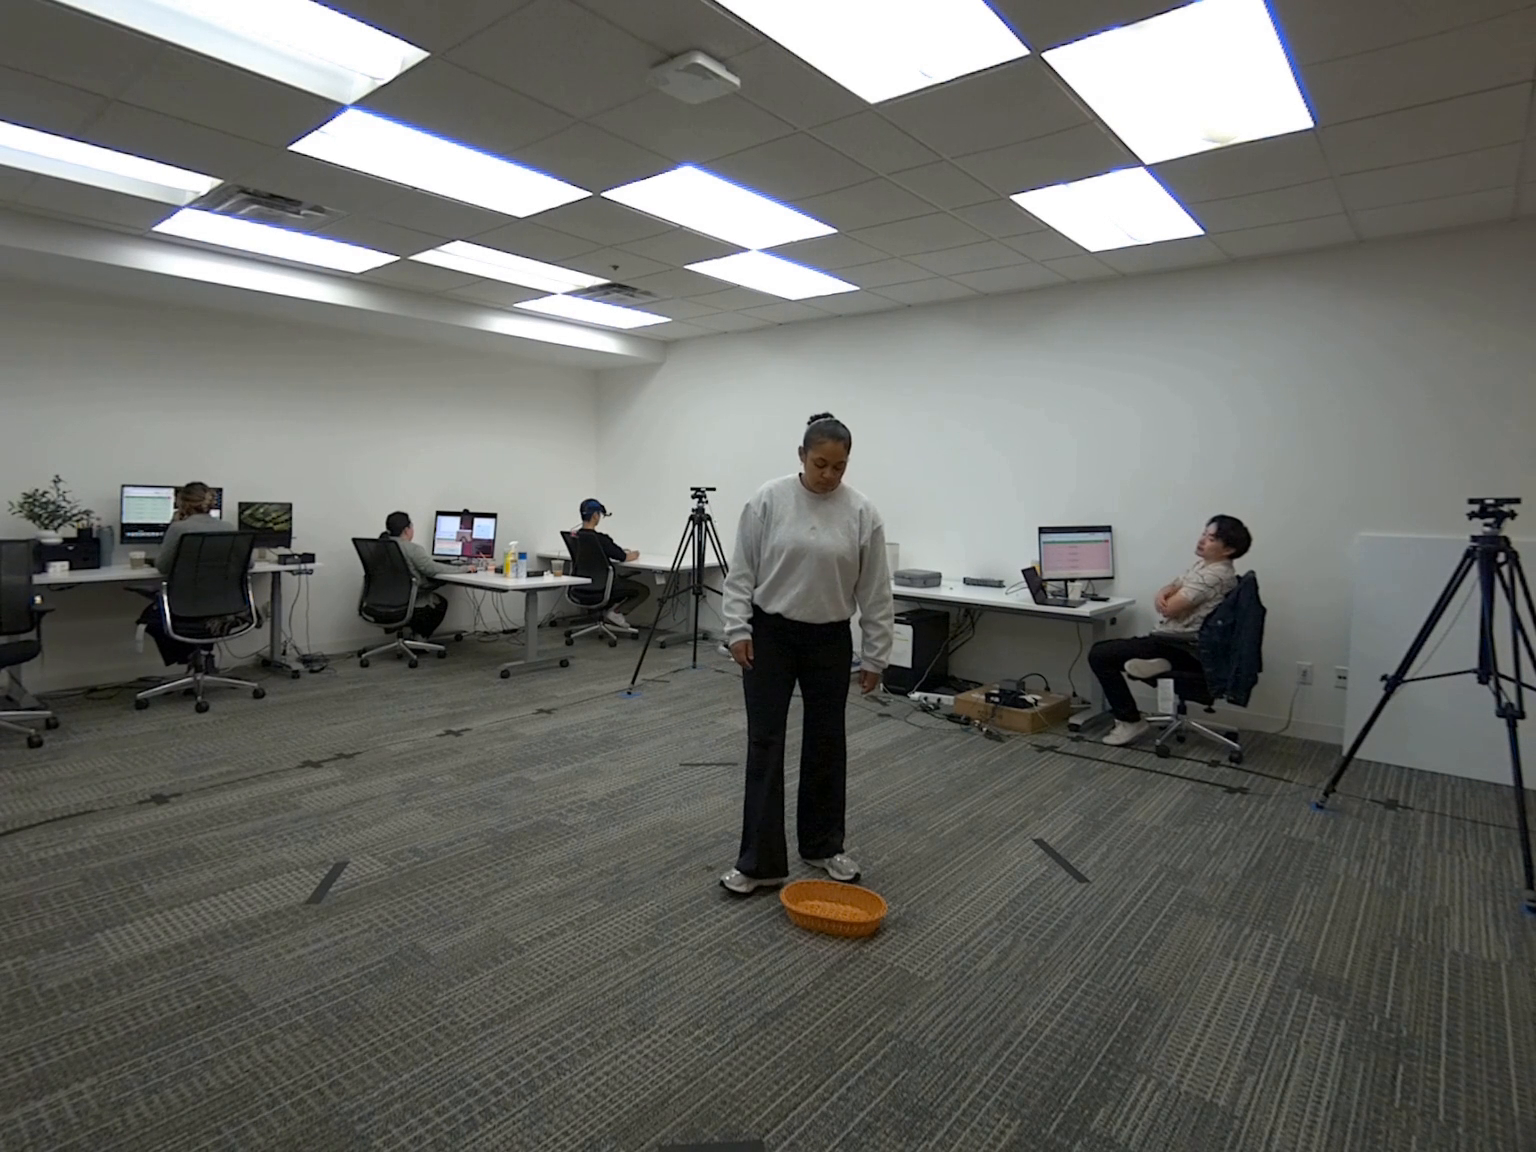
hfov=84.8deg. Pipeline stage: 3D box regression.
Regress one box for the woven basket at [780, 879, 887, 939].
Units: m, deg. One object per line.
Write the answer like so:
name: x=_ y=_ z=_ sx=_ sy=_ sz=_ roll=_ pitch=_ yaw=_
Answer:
woven basket: x=0.202 y=1.070 z=2.753 sx=0.358 sy=0.073 sz=0.248 roll=3 pitch=6 yaw=20
